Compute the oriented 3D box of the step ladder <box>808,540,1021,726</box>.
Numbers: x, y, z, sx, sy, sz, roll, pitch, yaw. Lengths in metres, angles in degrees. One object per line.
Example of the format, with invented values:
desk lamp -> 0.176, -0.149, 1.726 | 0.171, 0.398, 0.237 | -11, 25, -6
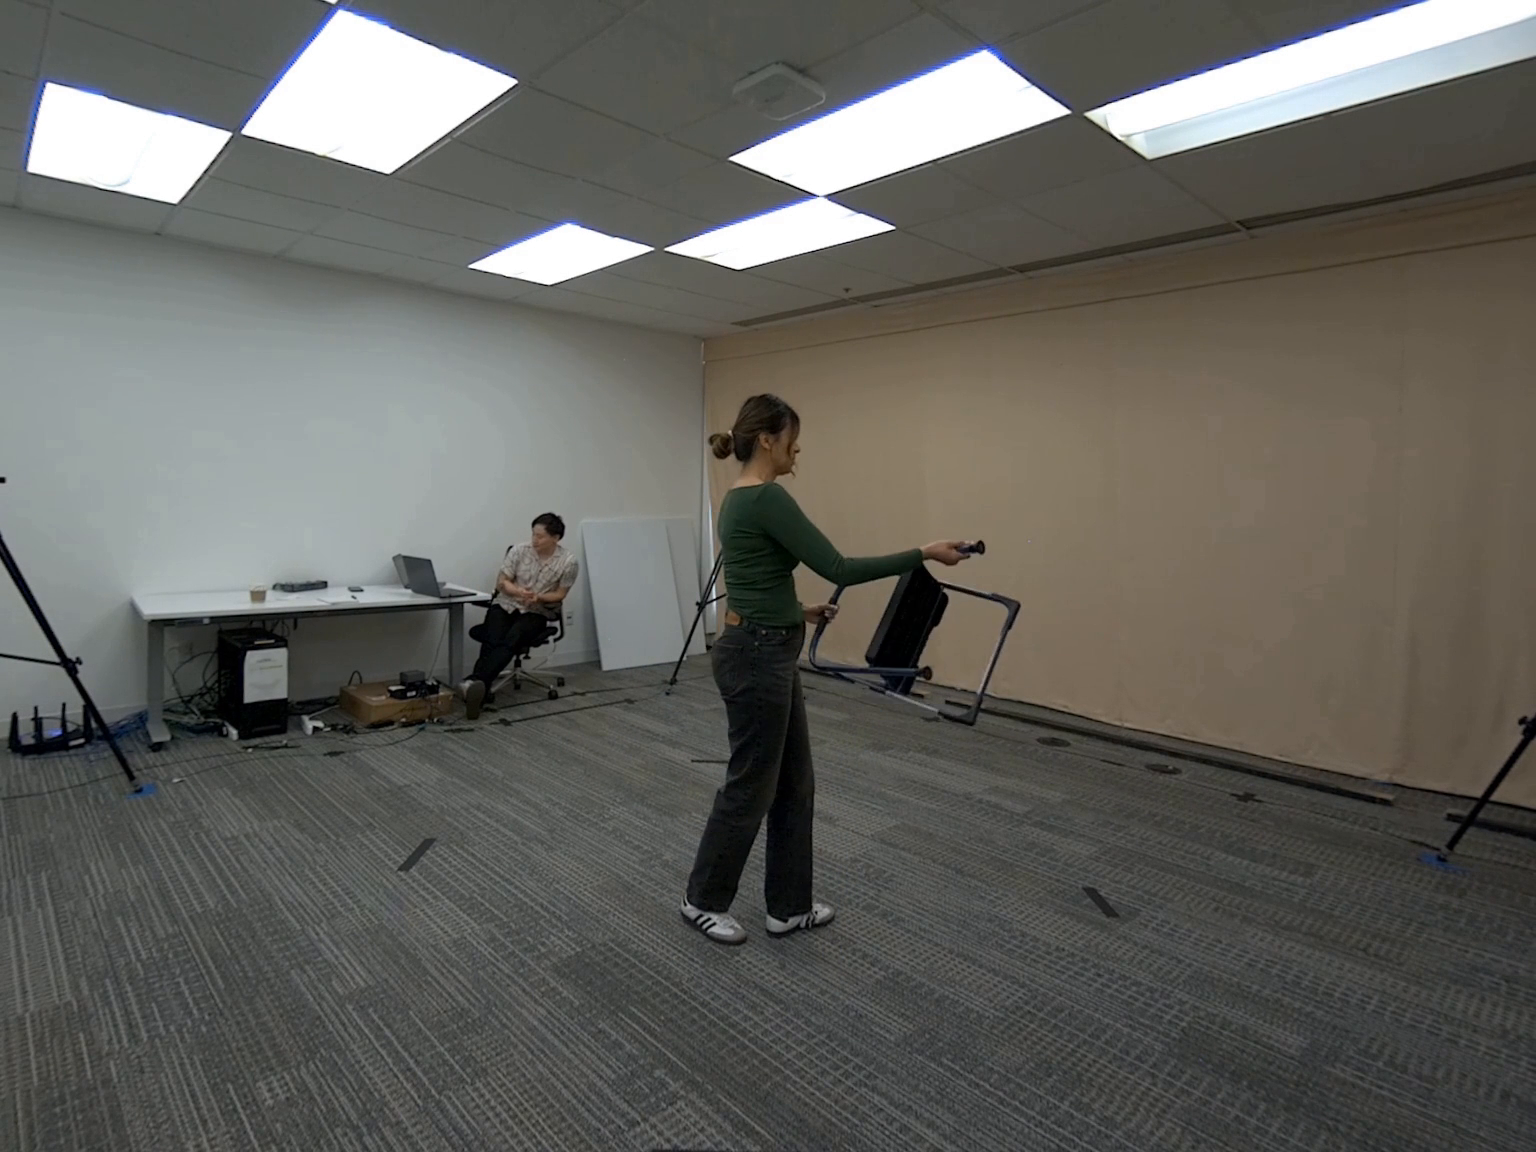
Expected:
step ladder -> 0.365, 0.137, 2.560 | 0.622, 0.433, 0.338 | 9, -27, 43
